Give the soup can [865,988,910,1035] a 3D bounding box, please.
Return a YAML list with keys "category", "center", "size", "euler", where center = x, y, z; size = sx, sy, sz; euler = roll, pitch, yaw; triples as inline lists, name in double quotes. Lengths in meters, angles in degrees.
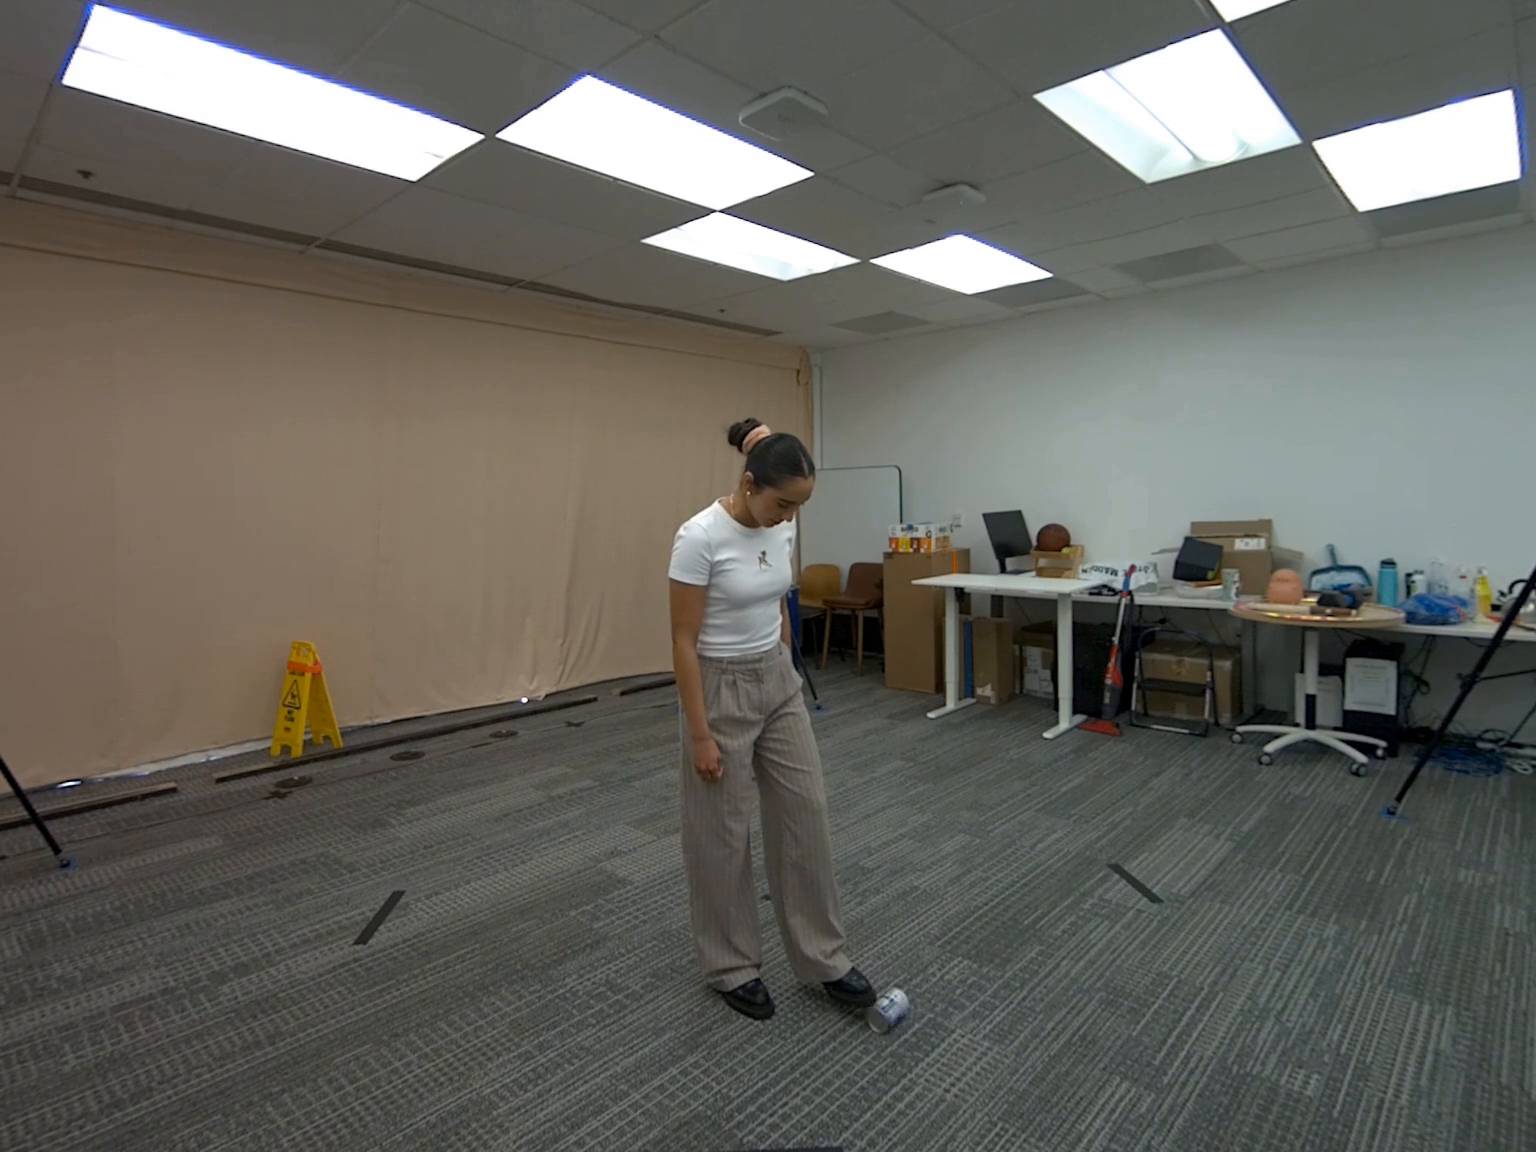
- category: "soup can"
  center: [0.327, 1.163, 2.245]
  size: [0.069, 0.067, 0.118]
  euler: [3, 4, 44]
